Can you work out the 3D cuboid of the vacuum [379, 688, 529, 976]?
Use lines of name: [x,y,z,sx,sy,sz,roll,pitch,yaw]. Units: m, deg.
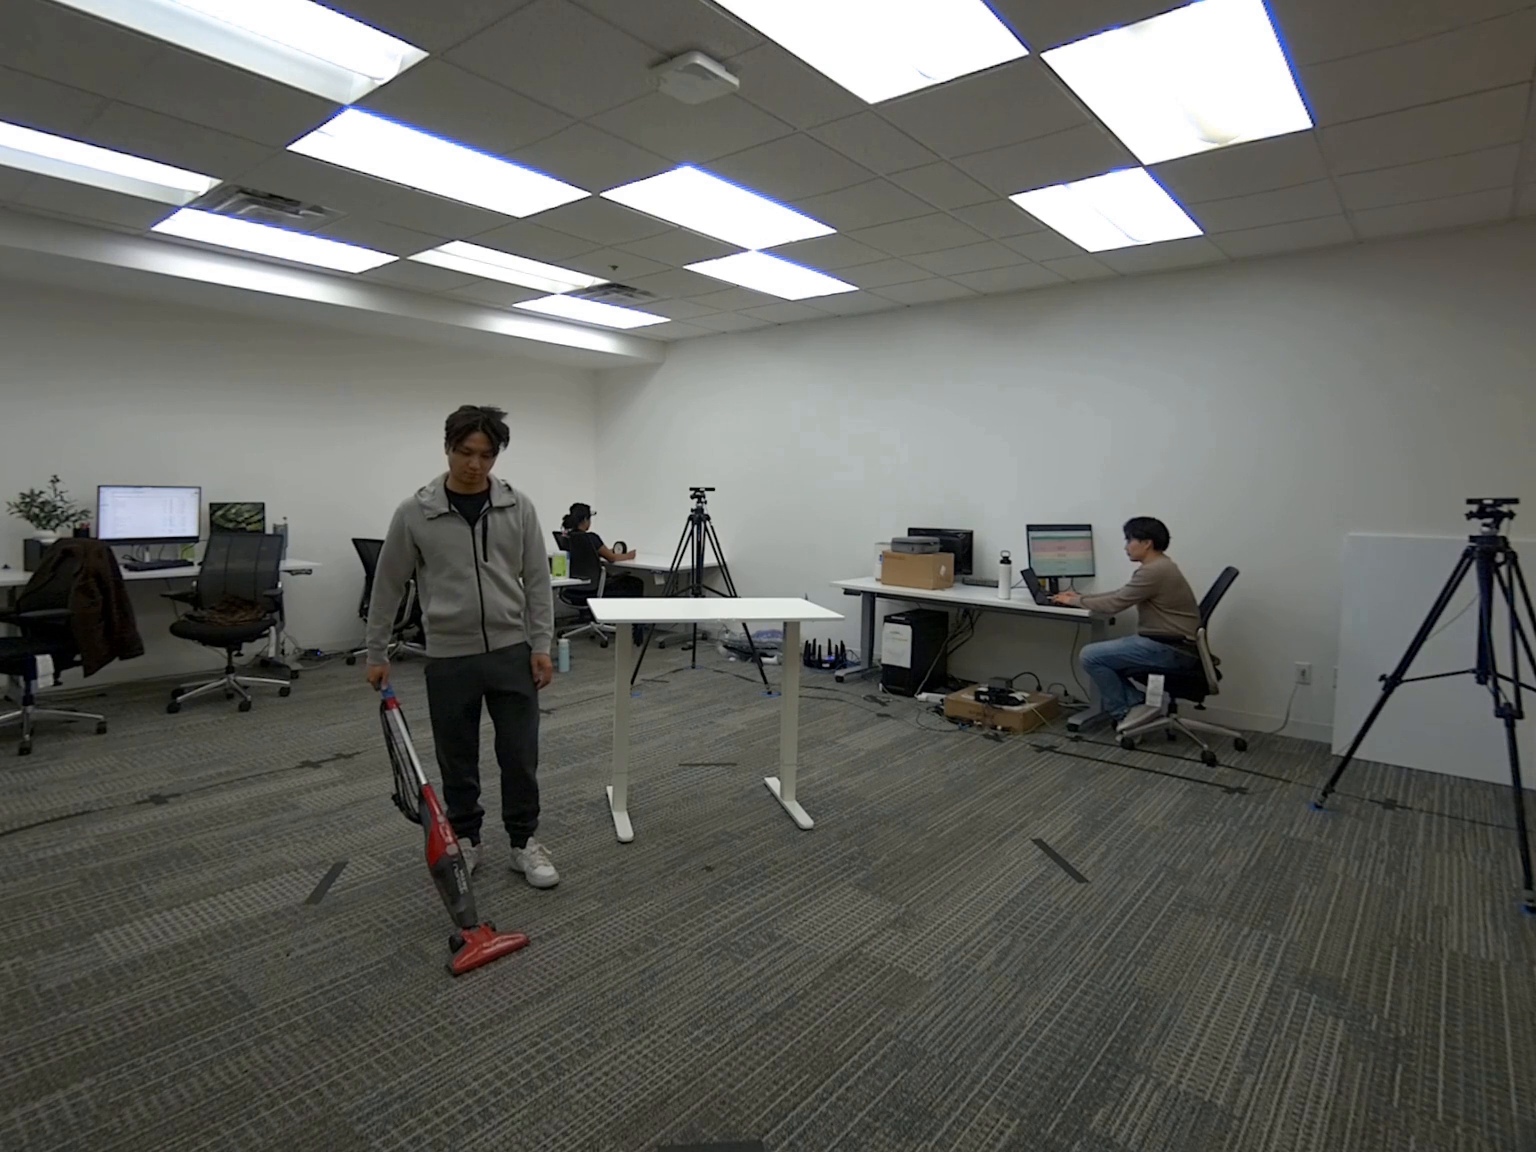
vacuum: [-1.127,0.718,2.751,0.245,0.143,1.086,-5,50,-45]
